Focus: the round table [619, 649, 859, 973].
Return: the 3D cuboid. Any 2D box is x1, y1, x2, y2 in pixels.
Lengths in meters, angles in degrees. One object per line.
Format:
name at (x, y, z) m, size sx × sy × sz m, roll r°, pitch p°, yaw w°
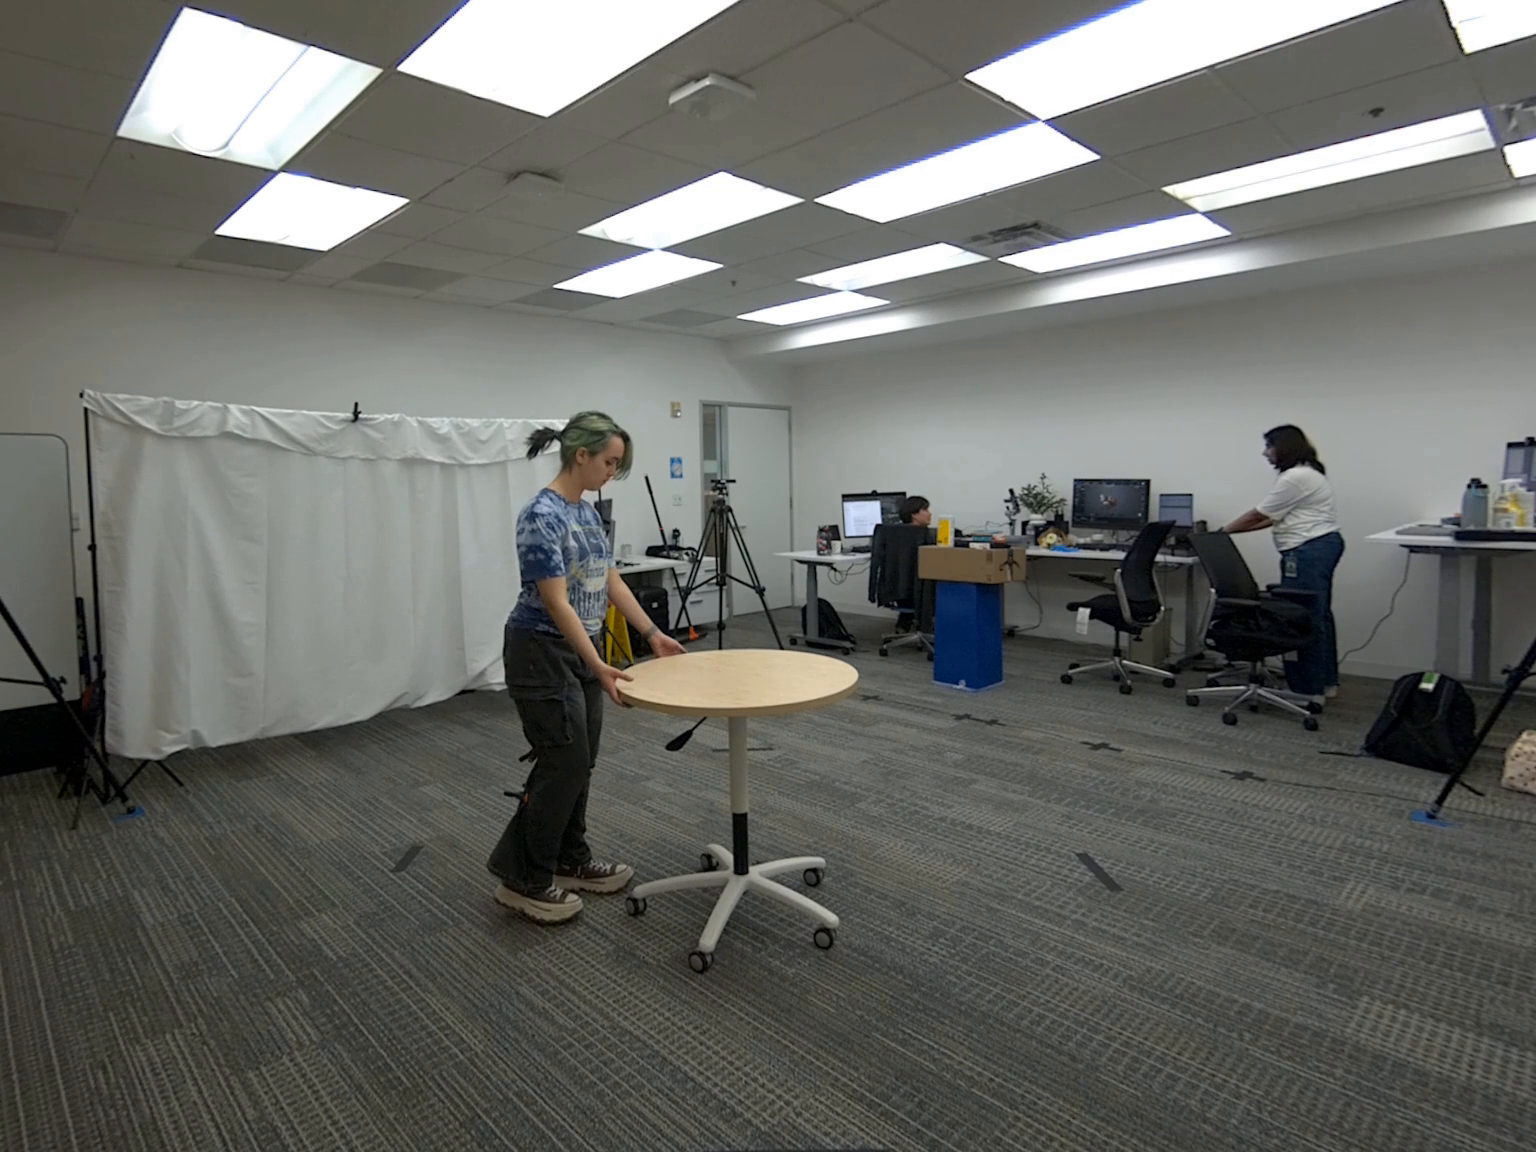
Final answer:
round table at (-0.090, 0.700, 2.731) m, size 0.763 × 0.791 × 0.768 m, roll -2°, pitch 5°, yaw -2°
